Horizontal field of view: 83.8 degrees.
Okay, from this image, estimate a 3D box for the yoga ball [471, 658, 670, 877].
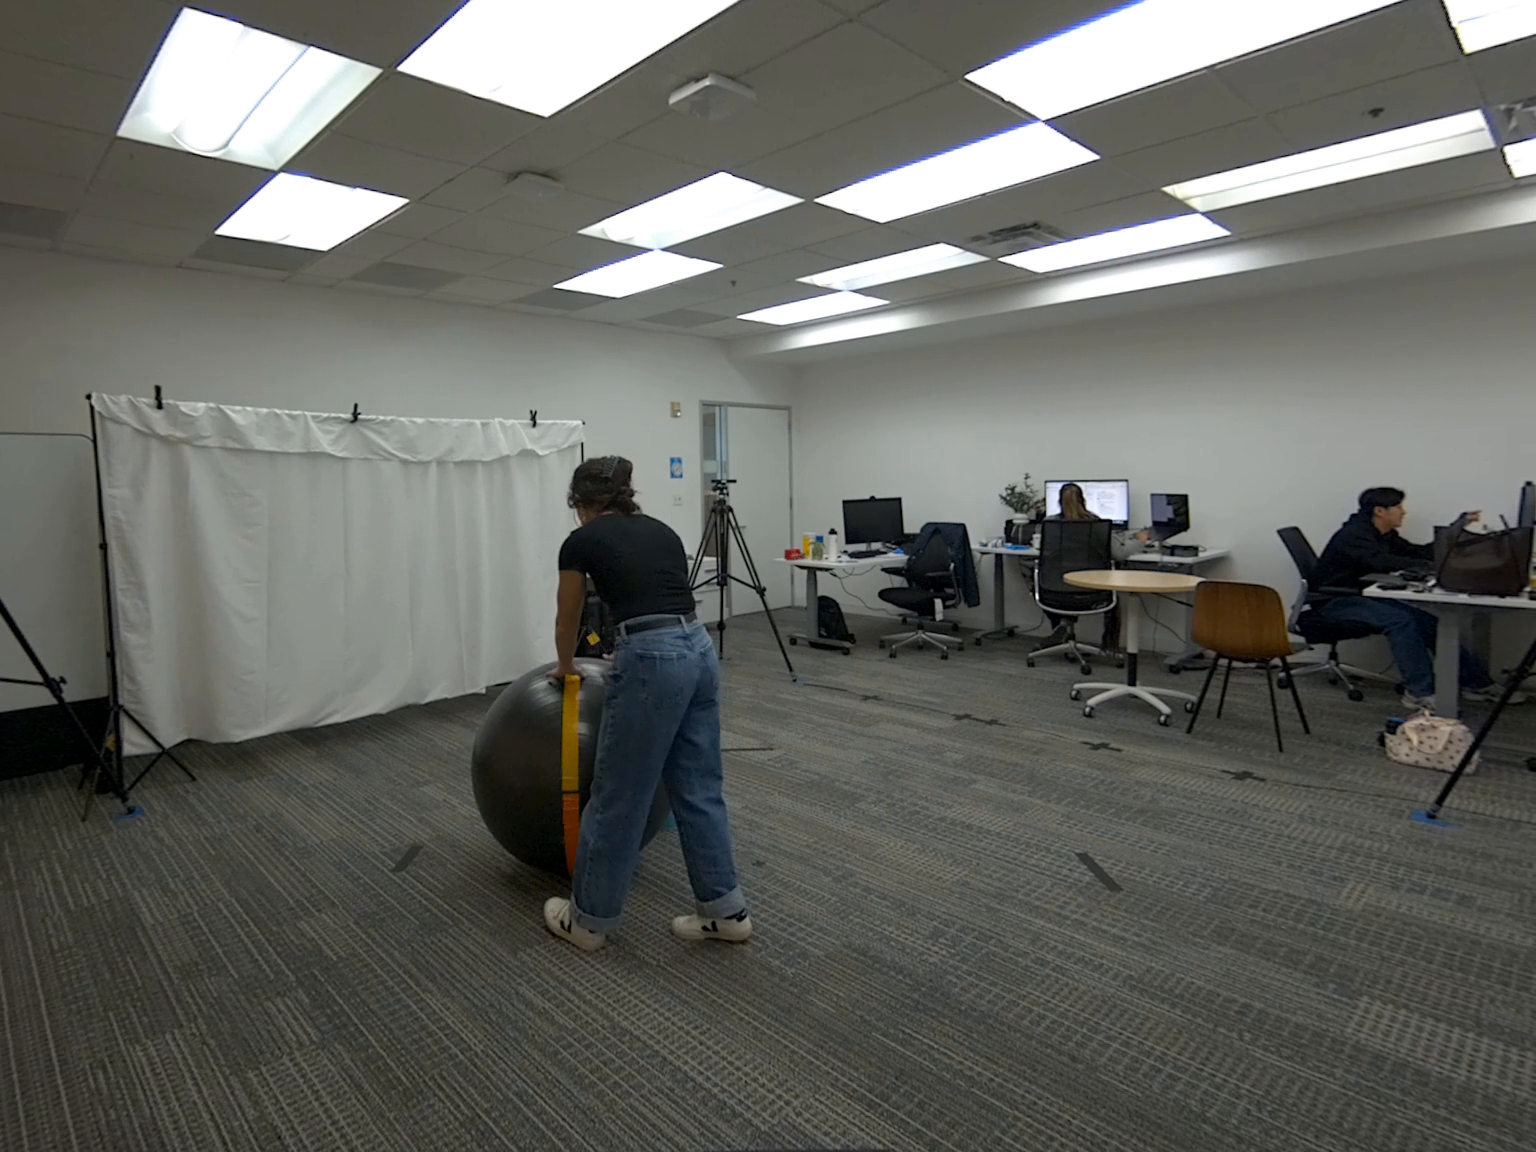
[{"bbox_3d":[-0.695,0.686,3.119,0.757,0.755,0.762,-1,5,-2],"label":"yoga ball"}]
